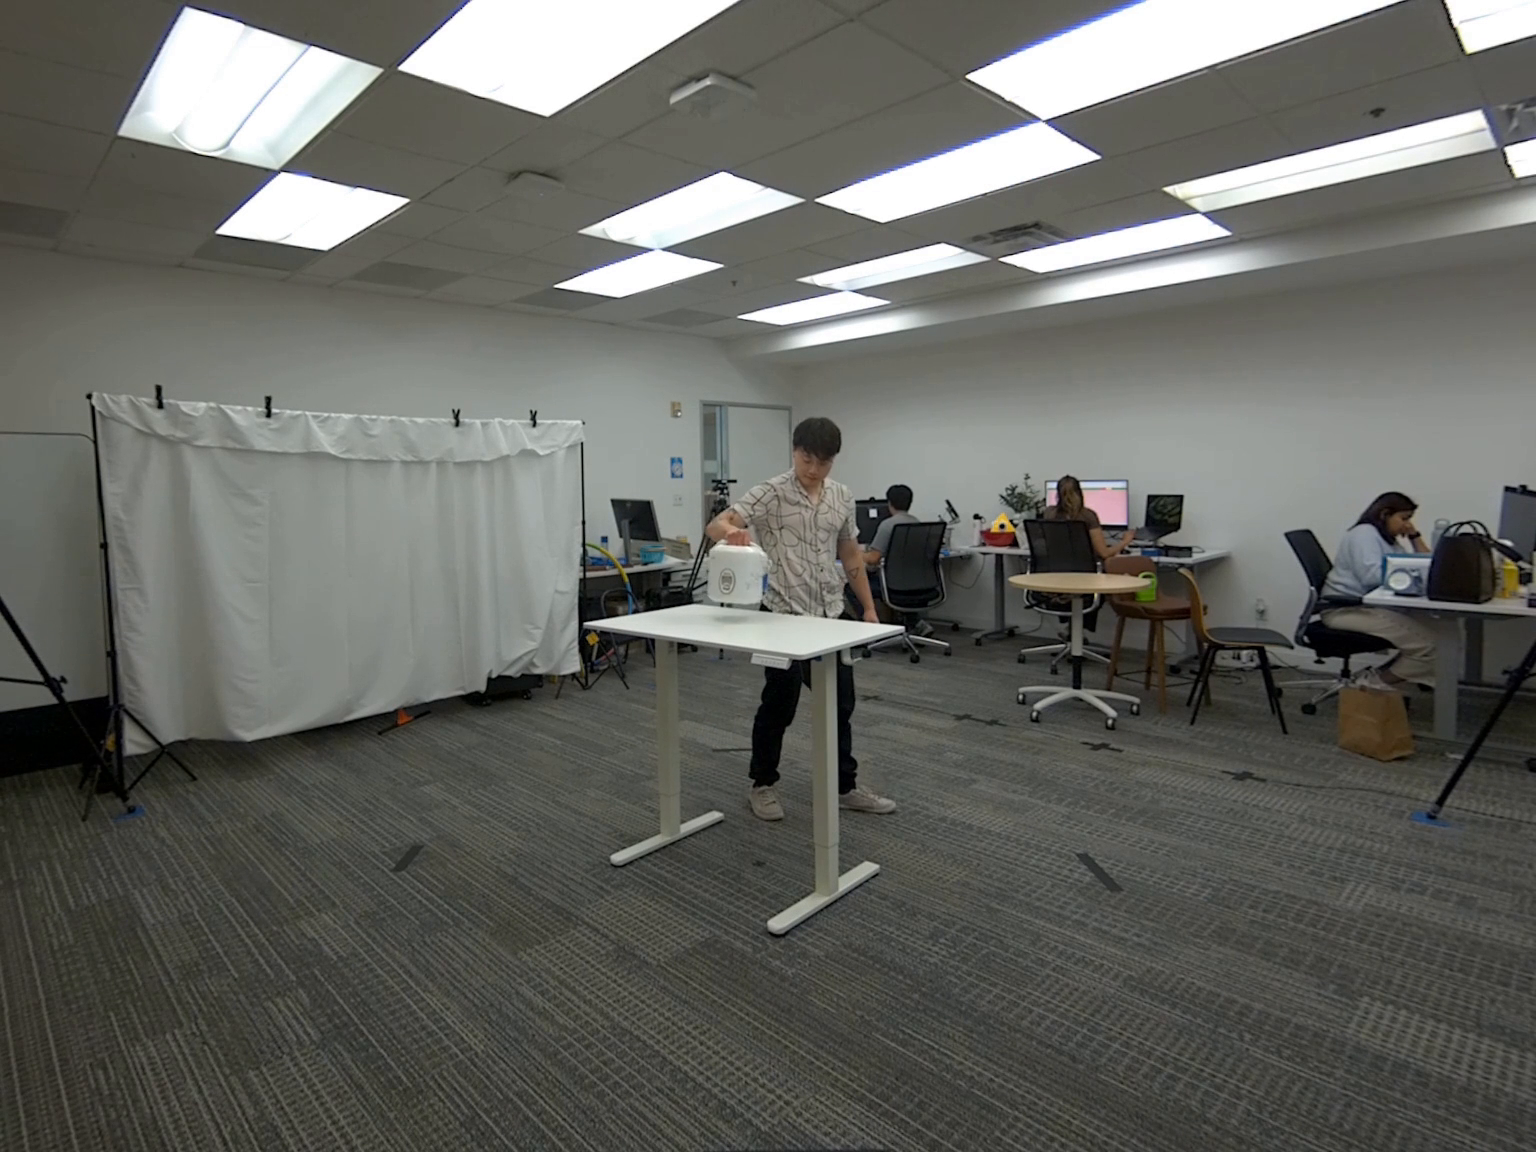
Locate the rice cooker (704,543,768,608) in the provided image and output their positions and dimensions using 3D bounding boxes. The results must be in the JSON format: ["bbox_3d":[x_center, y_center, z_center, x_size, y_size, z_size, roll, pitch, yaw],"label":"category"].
[{"bbox_3d":[-0.106,-0.018,3.130,0.224,0.233,0.213,2,0,17],"label":"rice cooker"}]
